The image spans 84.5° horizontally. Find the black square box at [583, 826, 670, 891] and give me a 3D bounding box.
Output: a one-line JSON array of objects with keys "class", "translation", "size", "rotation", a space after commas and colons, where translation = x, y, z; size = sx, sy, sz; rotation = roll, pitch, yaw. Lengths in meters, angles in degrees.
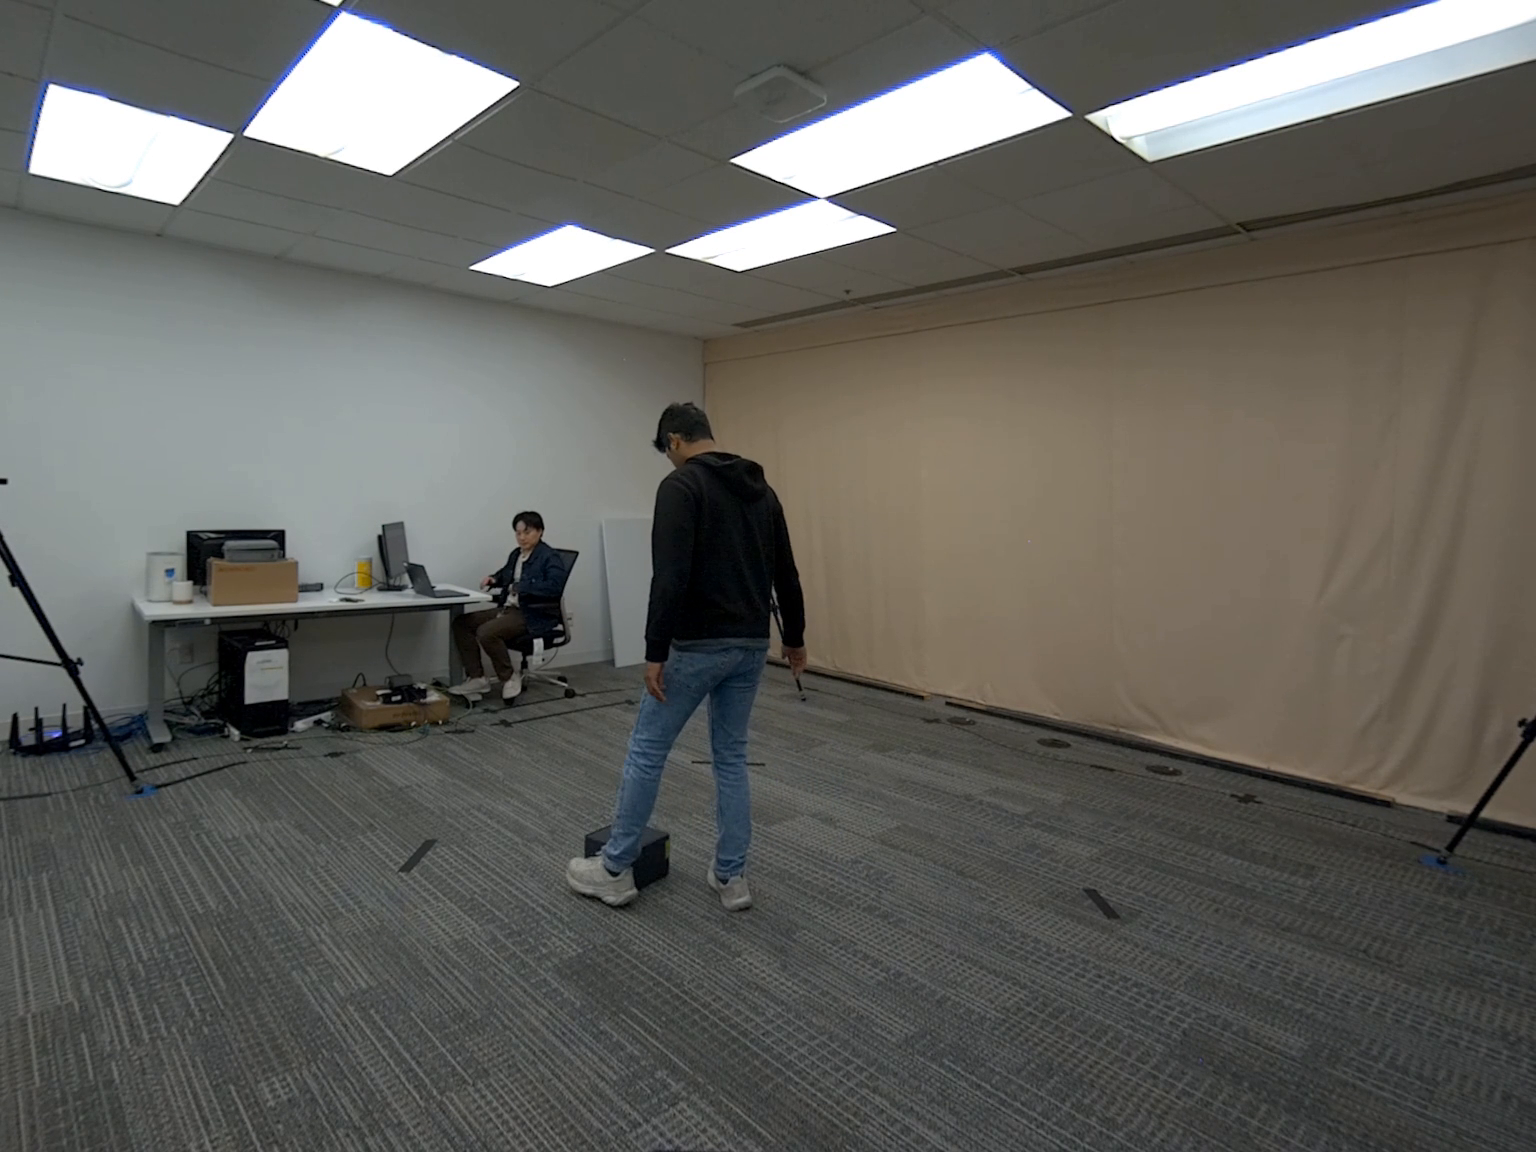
[{"class": "black square box", "translation": [-0.499, 1.018, 3.083], "size": [0.233, 0.155, 0.212], "rotation": [4, 5, 35]}]
